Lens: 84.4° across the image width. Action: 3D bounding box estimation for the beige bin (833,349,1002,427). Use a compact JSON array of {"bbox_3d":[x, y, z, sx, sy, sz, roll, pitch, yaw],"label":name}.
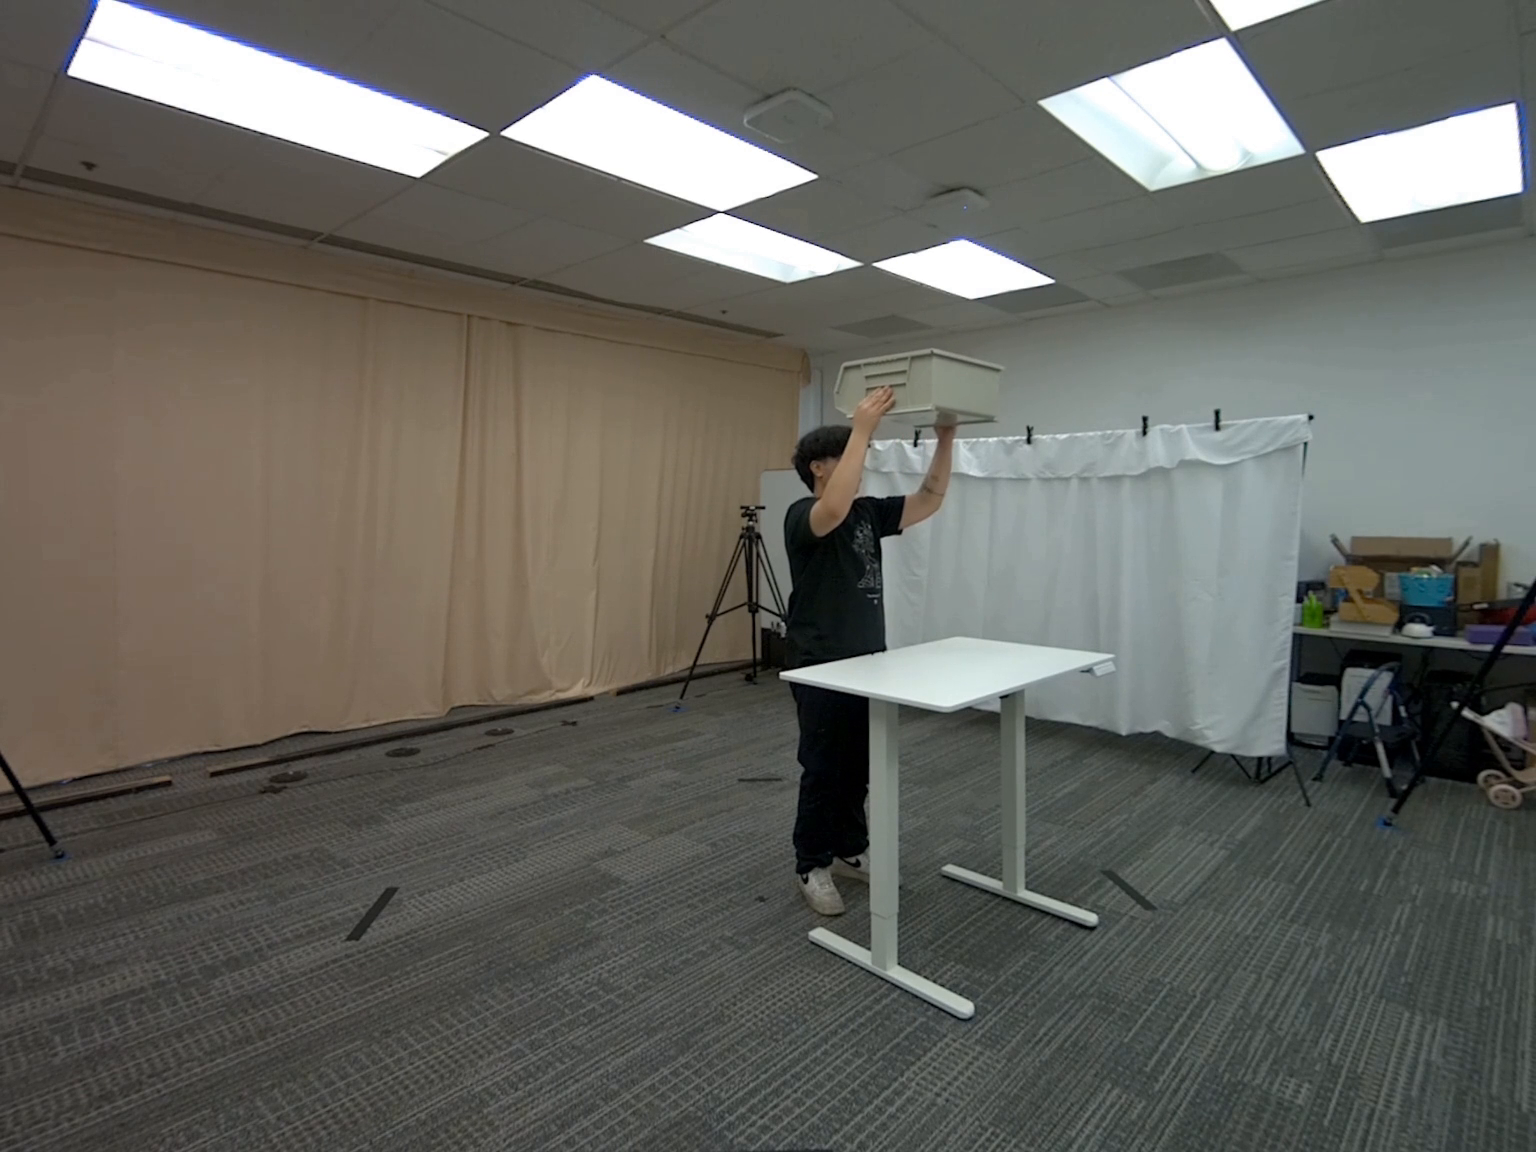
[{"bbox_3d":[0.500,-0.596,2.760,0.409,0.188,0.390,-2,5,-45],"label":"beige bin"}]
